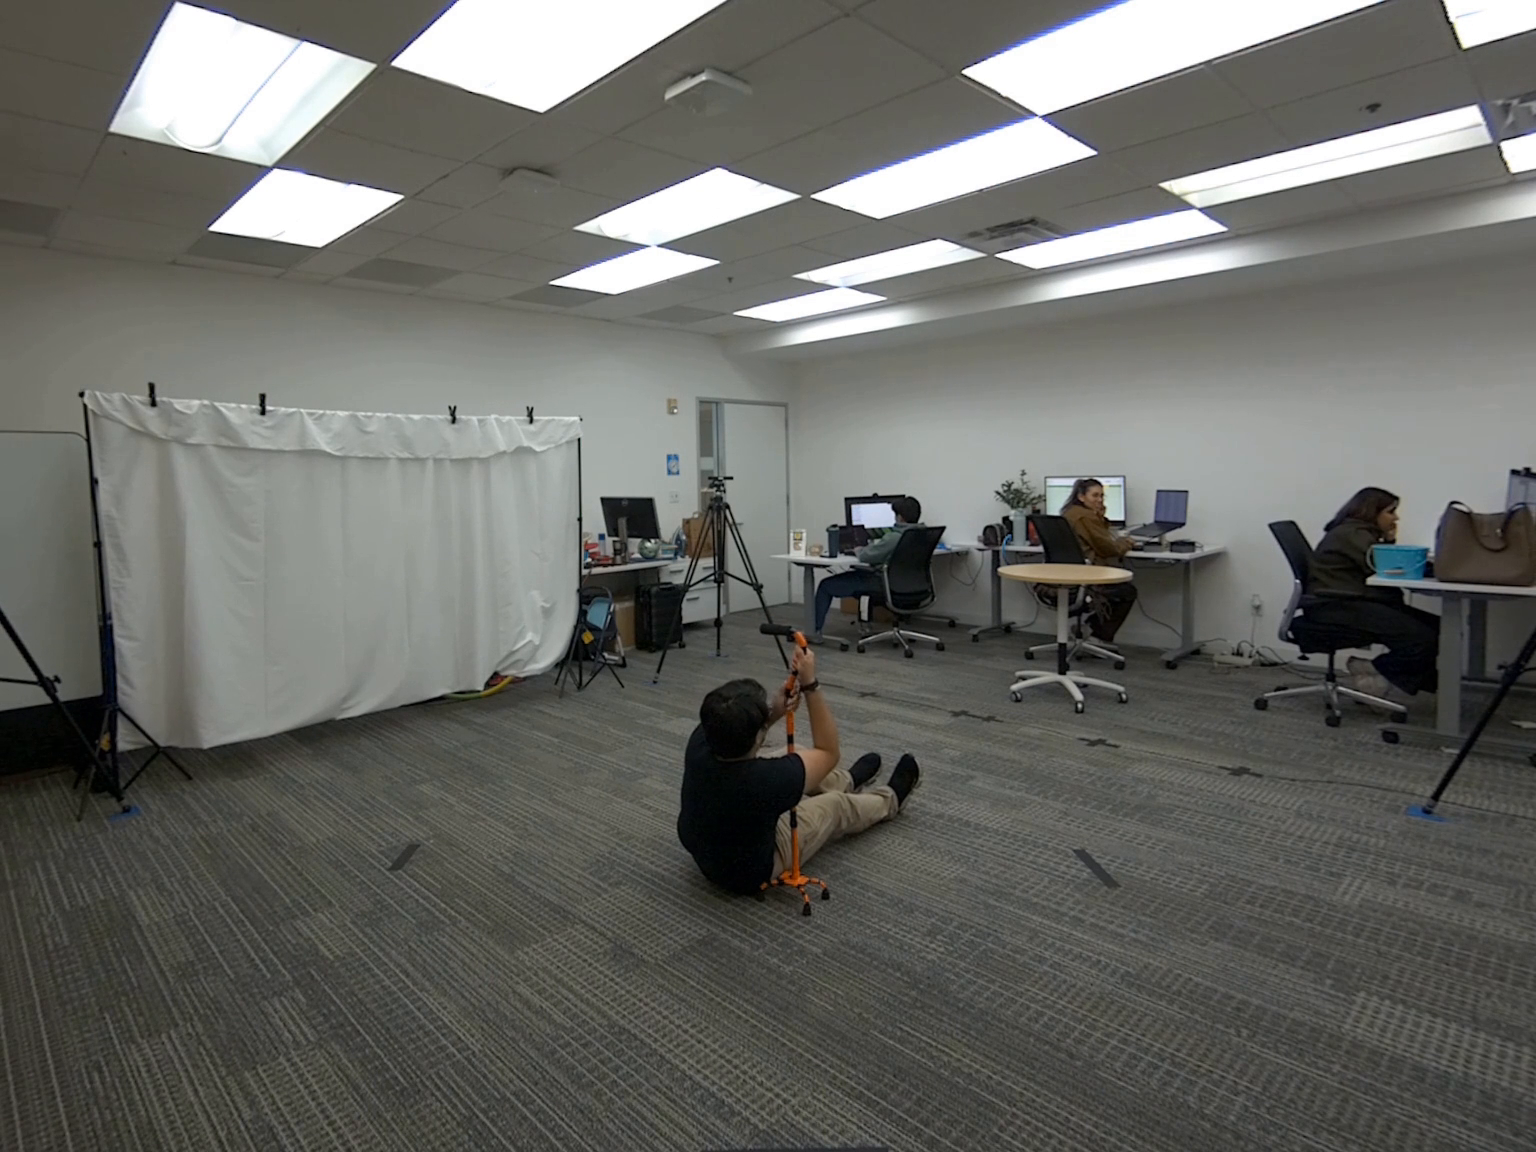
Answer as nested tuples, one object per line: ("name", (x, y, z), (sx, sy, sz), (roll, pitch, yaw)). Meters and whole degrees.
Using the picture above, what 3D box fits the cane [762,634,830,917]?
("cane", (0.064, 0.616, 2.792), (0.212, 0.904, 0.148), (1, 5, 35))
